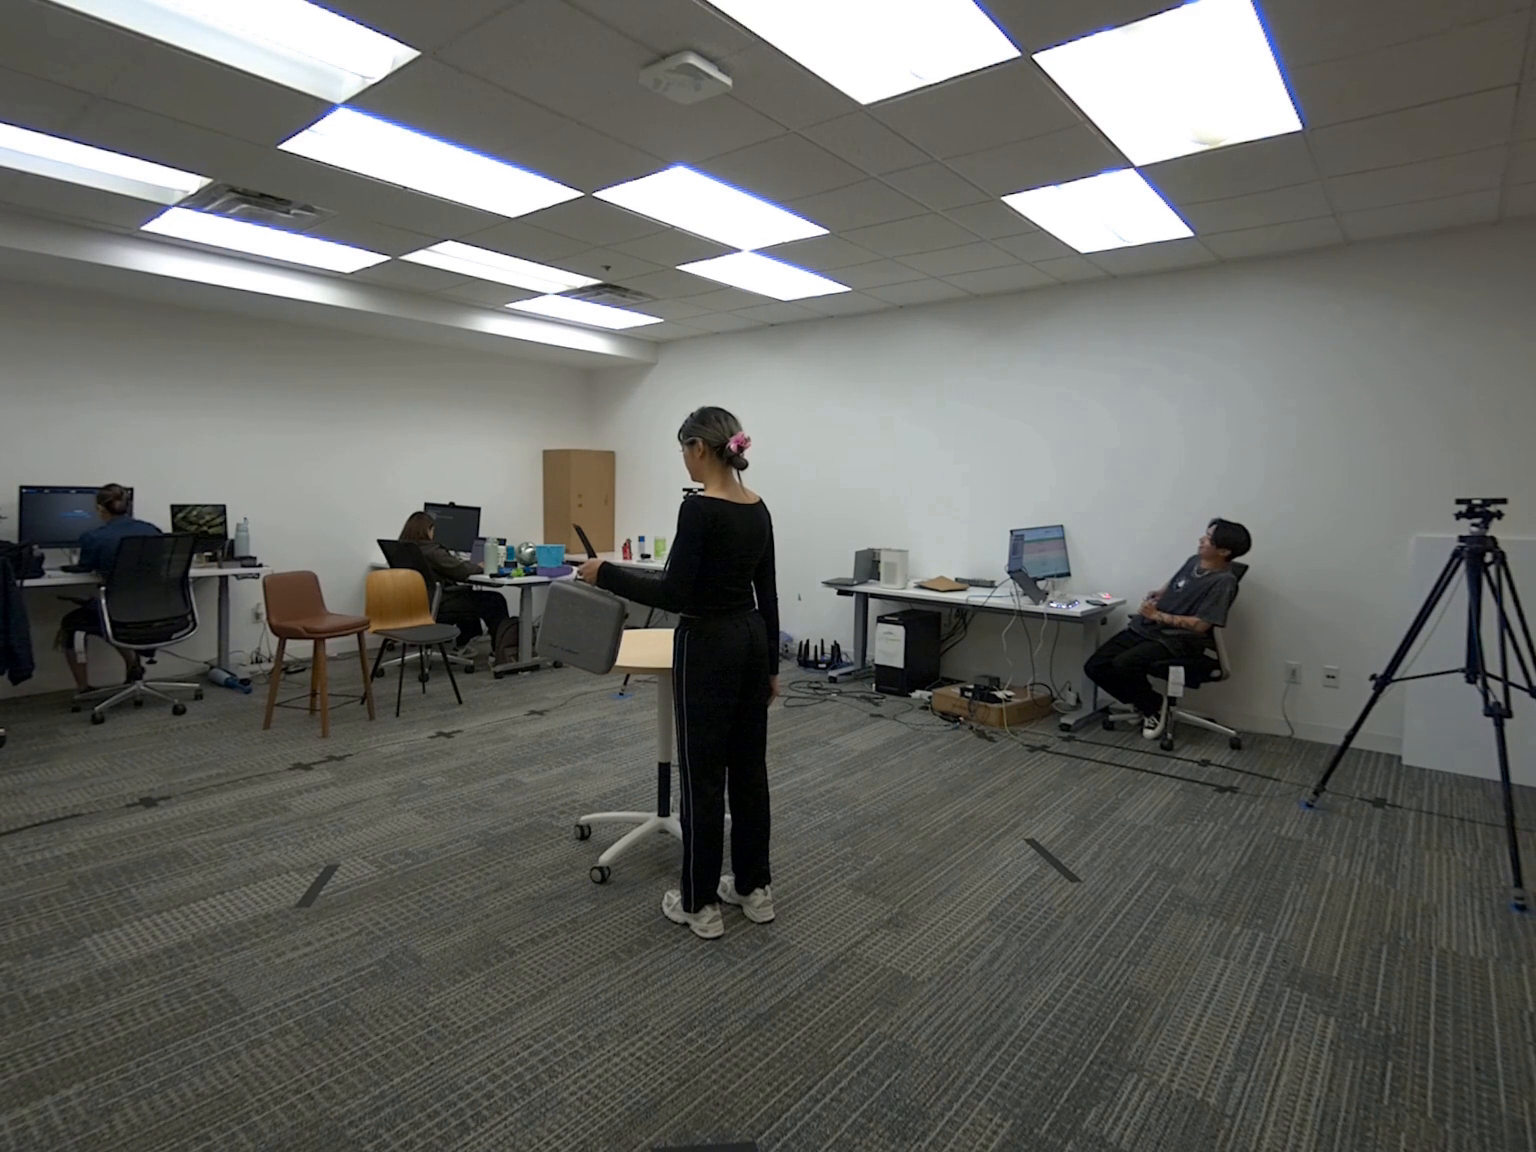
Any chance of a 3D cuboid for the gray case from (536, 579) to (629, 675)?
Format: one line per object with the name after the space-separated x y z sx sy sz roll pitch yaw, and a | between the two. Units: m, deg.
-0.596 0.146 2.667 0.260 0.258 0.104 18 14 10 | gray case
